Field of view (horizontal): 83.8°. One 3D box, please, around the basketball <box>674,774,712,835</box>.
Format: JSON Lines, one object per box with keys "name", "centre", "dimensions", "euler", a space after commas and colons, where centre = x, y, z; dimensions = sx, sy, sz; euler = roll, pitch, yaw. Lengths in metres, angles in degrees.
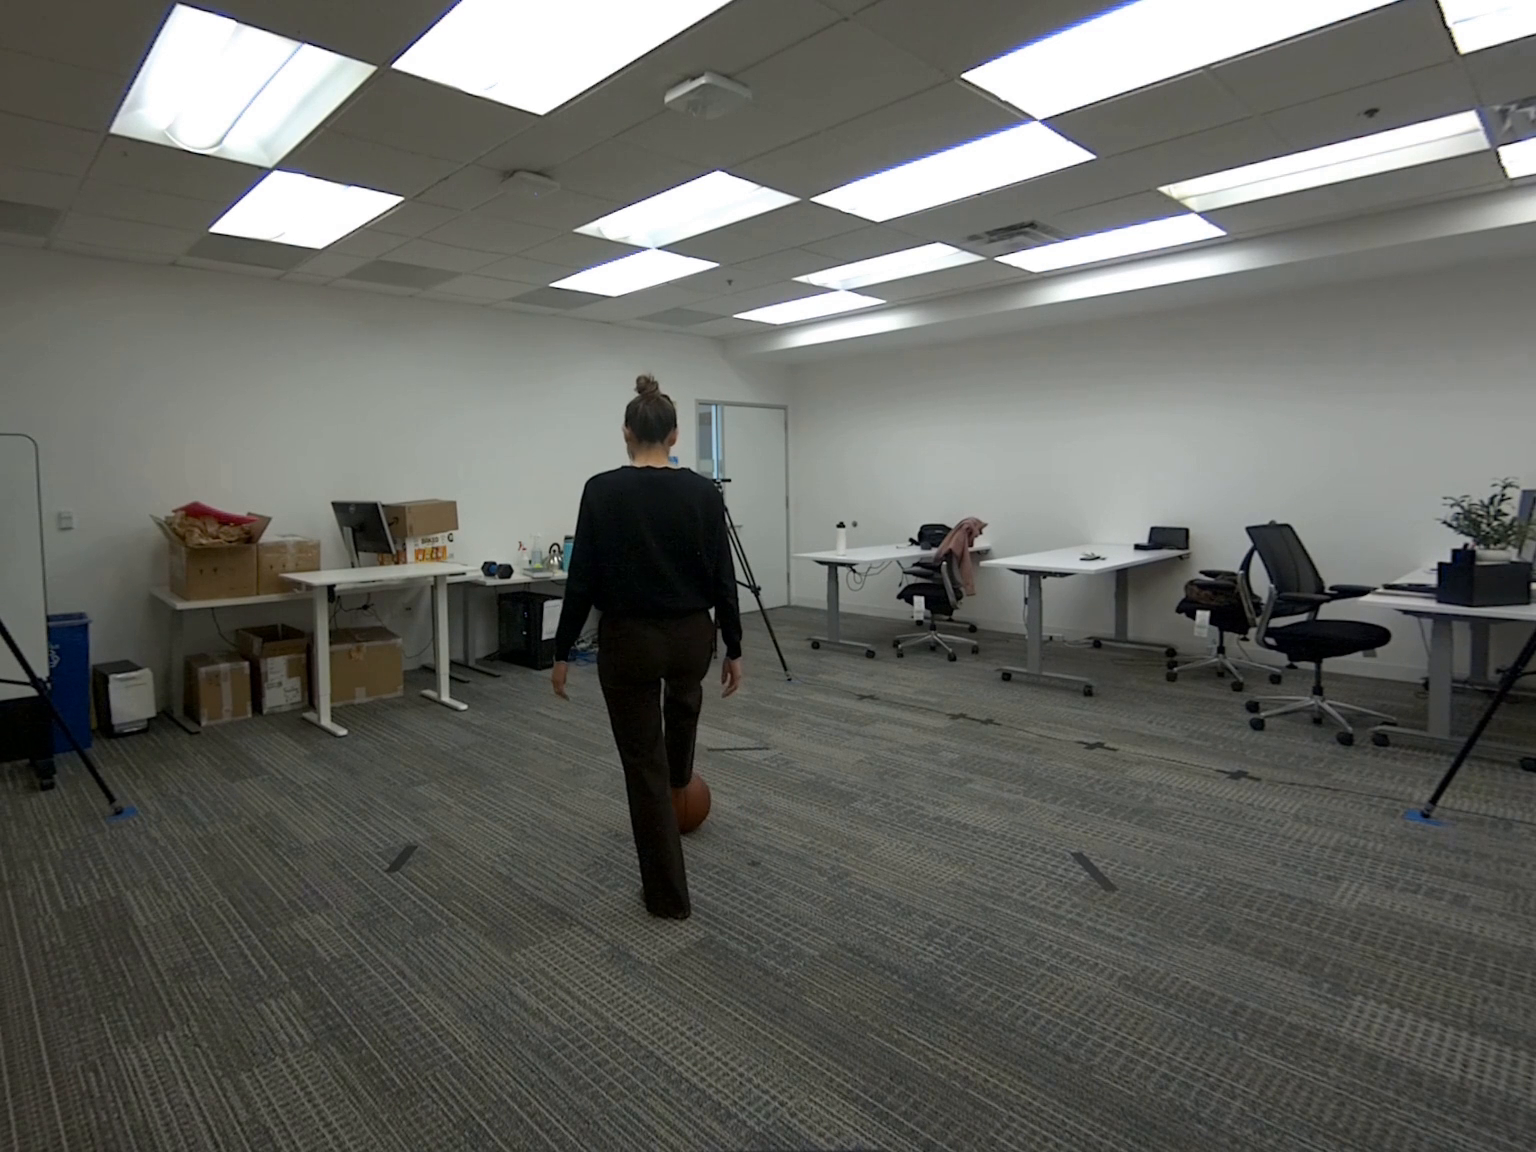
{"name": "basketball", "centre": [-0.340, 0.899, 3.418], "dimensions": [0.236, 0.235, 0.237], "euler": [-1, 5, -2]}
